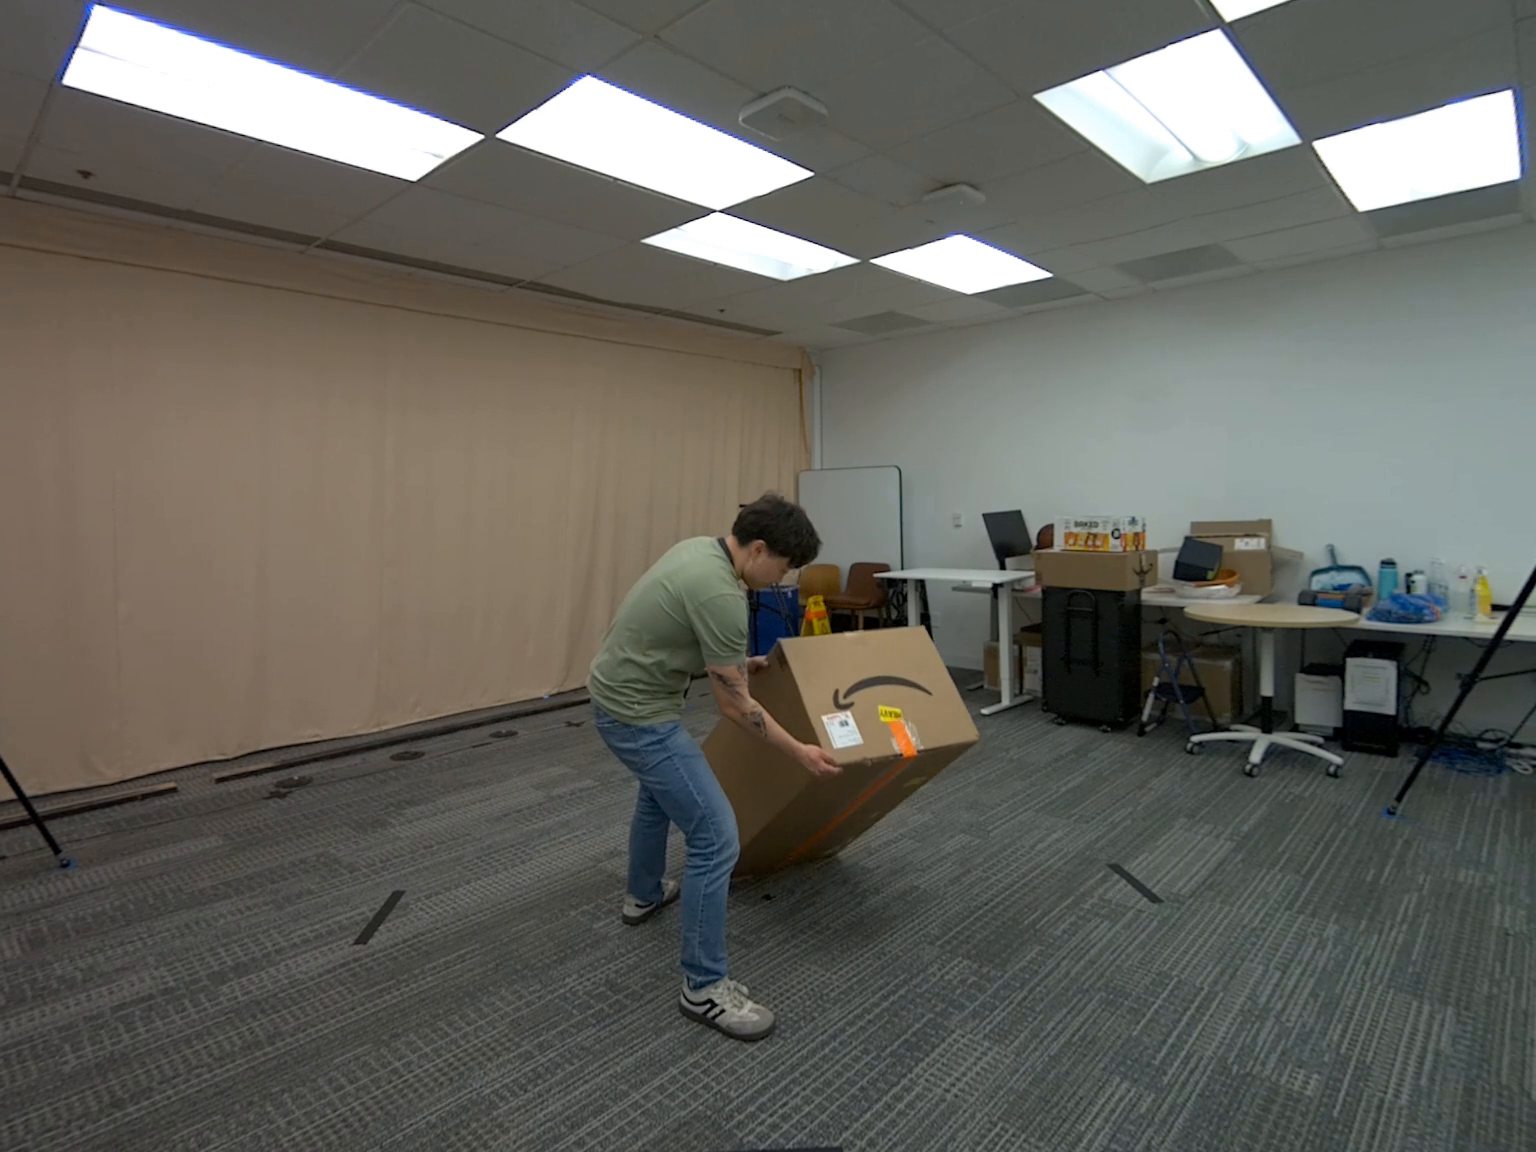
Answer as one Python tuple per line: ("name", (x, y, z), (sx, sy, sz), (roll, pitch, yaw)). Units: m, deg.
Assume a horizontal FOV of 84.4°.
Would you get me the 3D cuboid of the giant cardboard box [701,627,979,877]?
("giant cardboard box", (0.154, 0.649, 2.958), (0.563, 0.437, 1.026), (-2, -36, -29))
